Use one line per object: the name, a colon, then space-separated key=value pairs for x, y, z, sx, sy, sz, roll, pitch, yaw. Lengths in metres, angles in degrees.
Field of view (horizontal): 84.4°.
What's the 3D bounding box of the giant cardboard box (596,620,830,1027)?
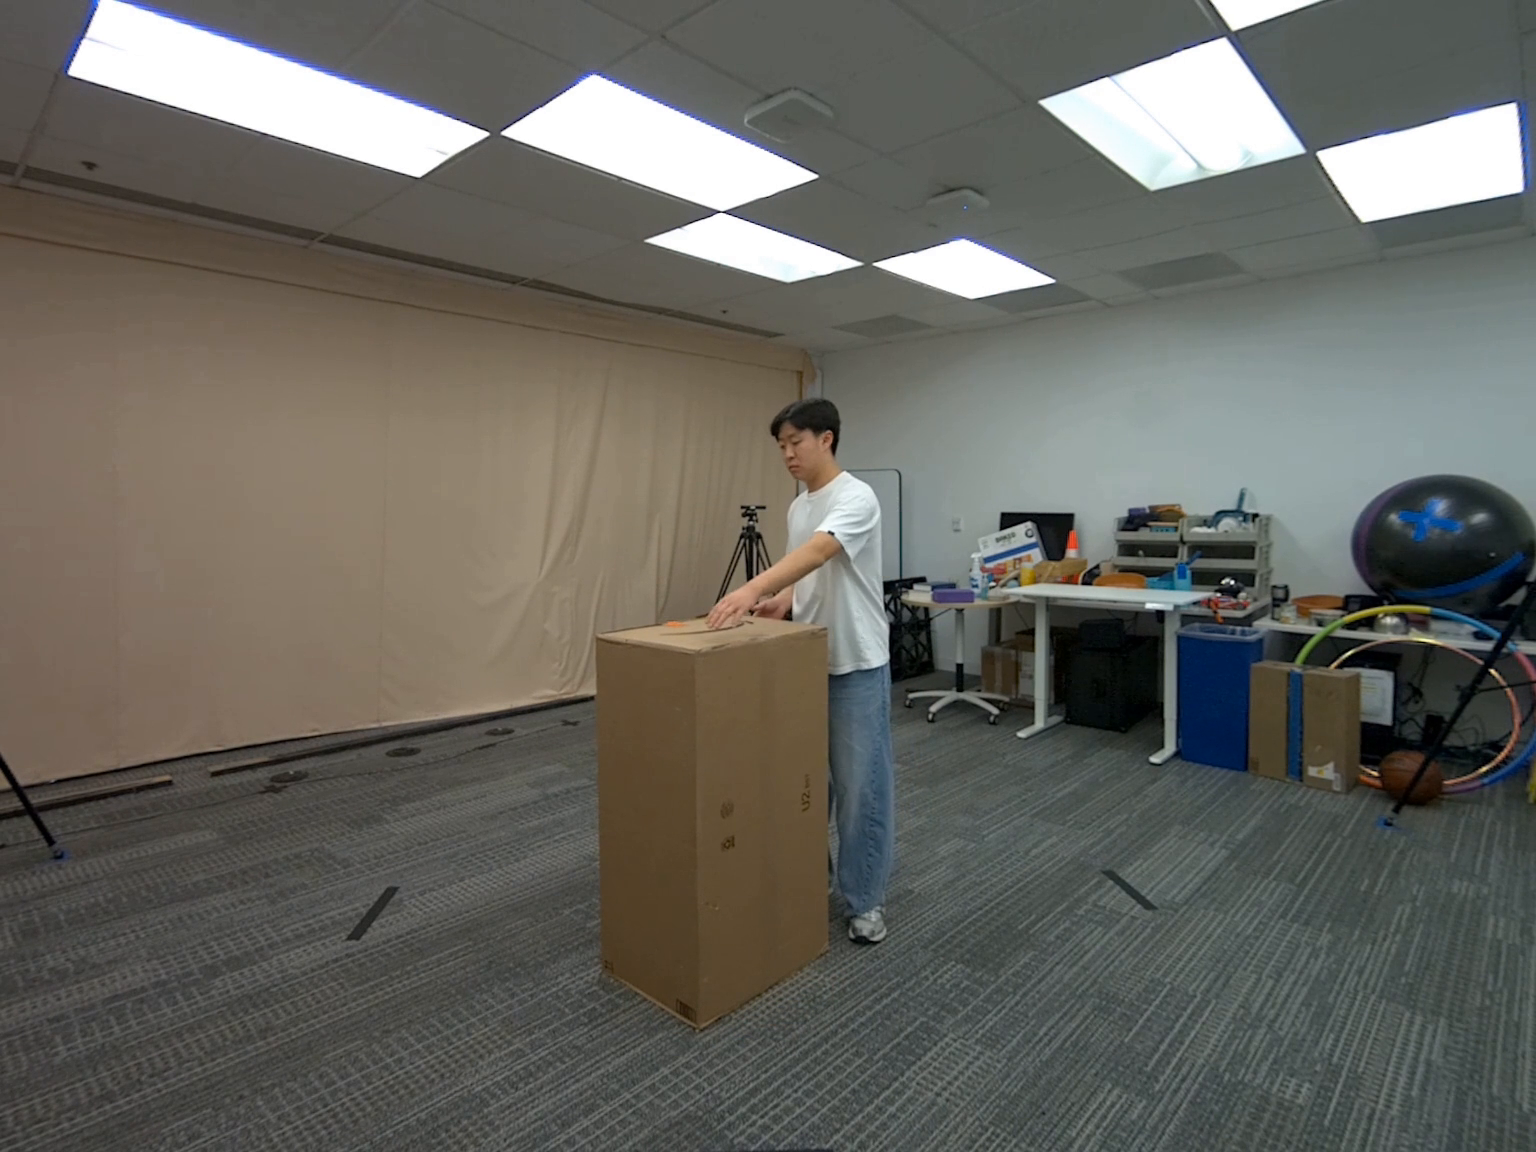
giant cardboard box: x=-0.164 y=0.671 z=2.545 sx=0.440 sy=1.024 sz=0.560 roll=3 pitch=4 yaw=43
